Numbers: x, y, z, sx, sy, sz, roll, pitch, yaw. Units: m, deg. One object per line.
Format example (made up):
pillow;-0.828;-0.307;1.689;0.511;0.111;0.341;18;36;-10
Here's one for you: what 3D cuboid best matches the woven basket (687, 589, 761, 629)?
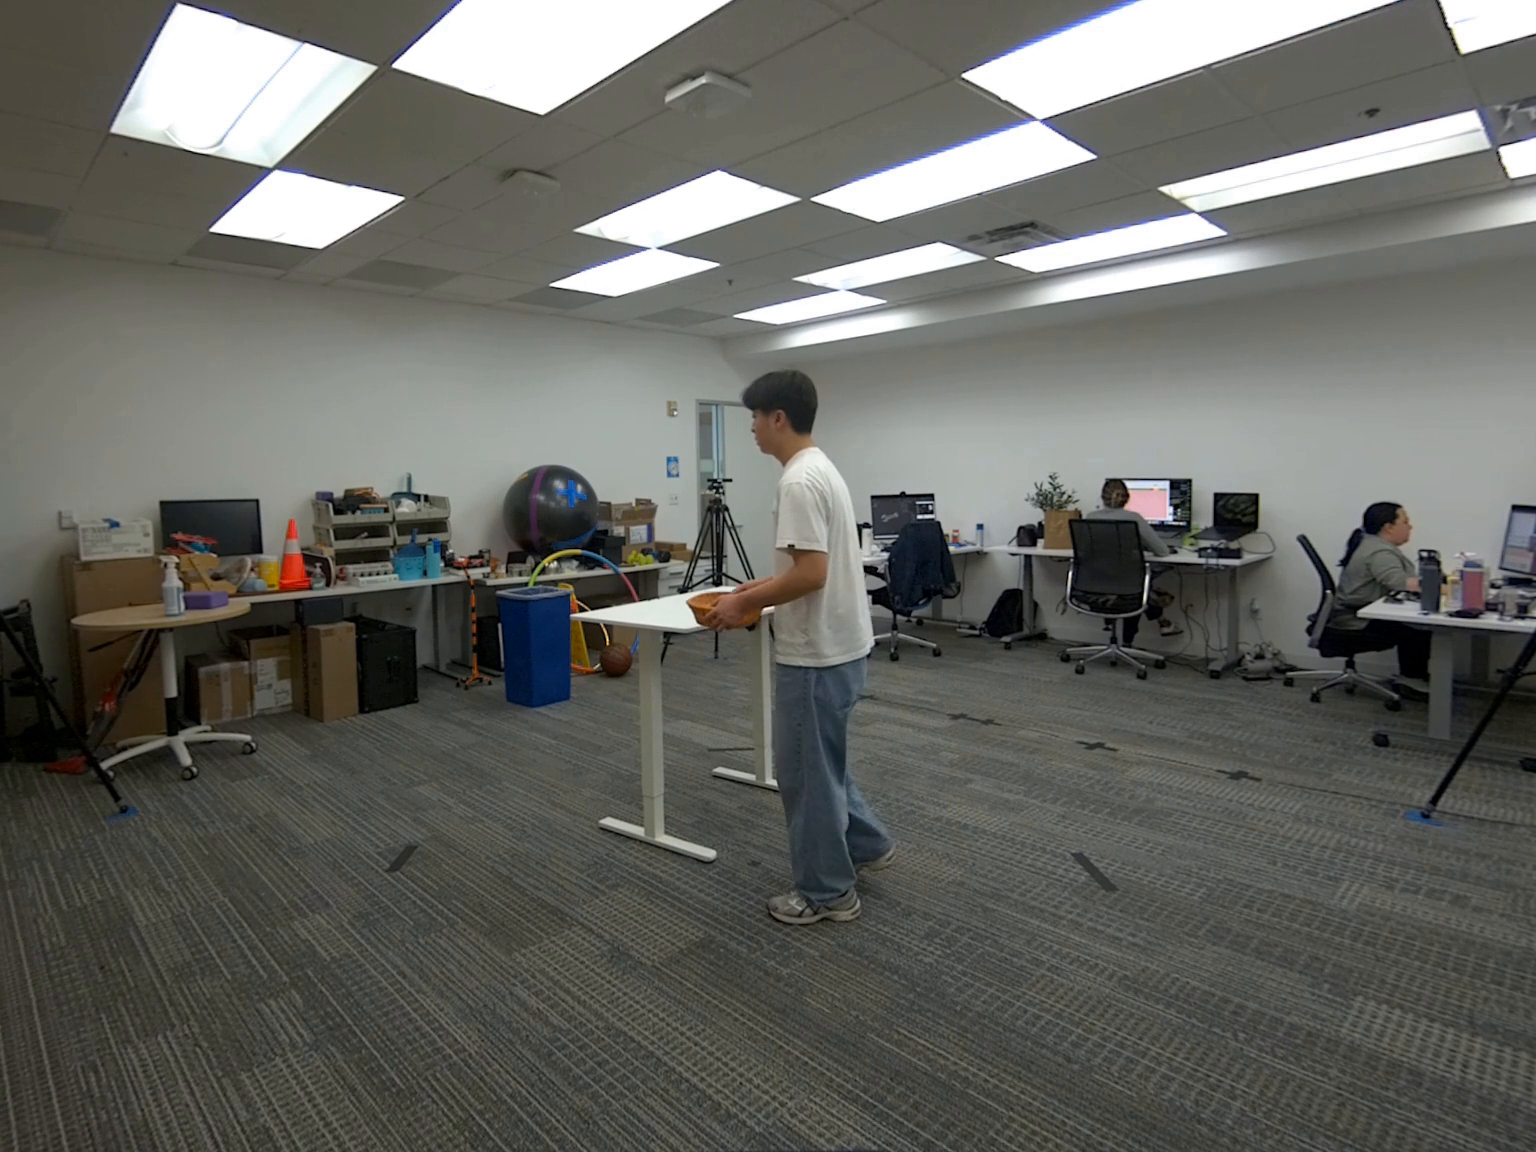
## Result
woven basket;-0.075;0.115;2.781;0.257;0.073;0.345;2;8;20
